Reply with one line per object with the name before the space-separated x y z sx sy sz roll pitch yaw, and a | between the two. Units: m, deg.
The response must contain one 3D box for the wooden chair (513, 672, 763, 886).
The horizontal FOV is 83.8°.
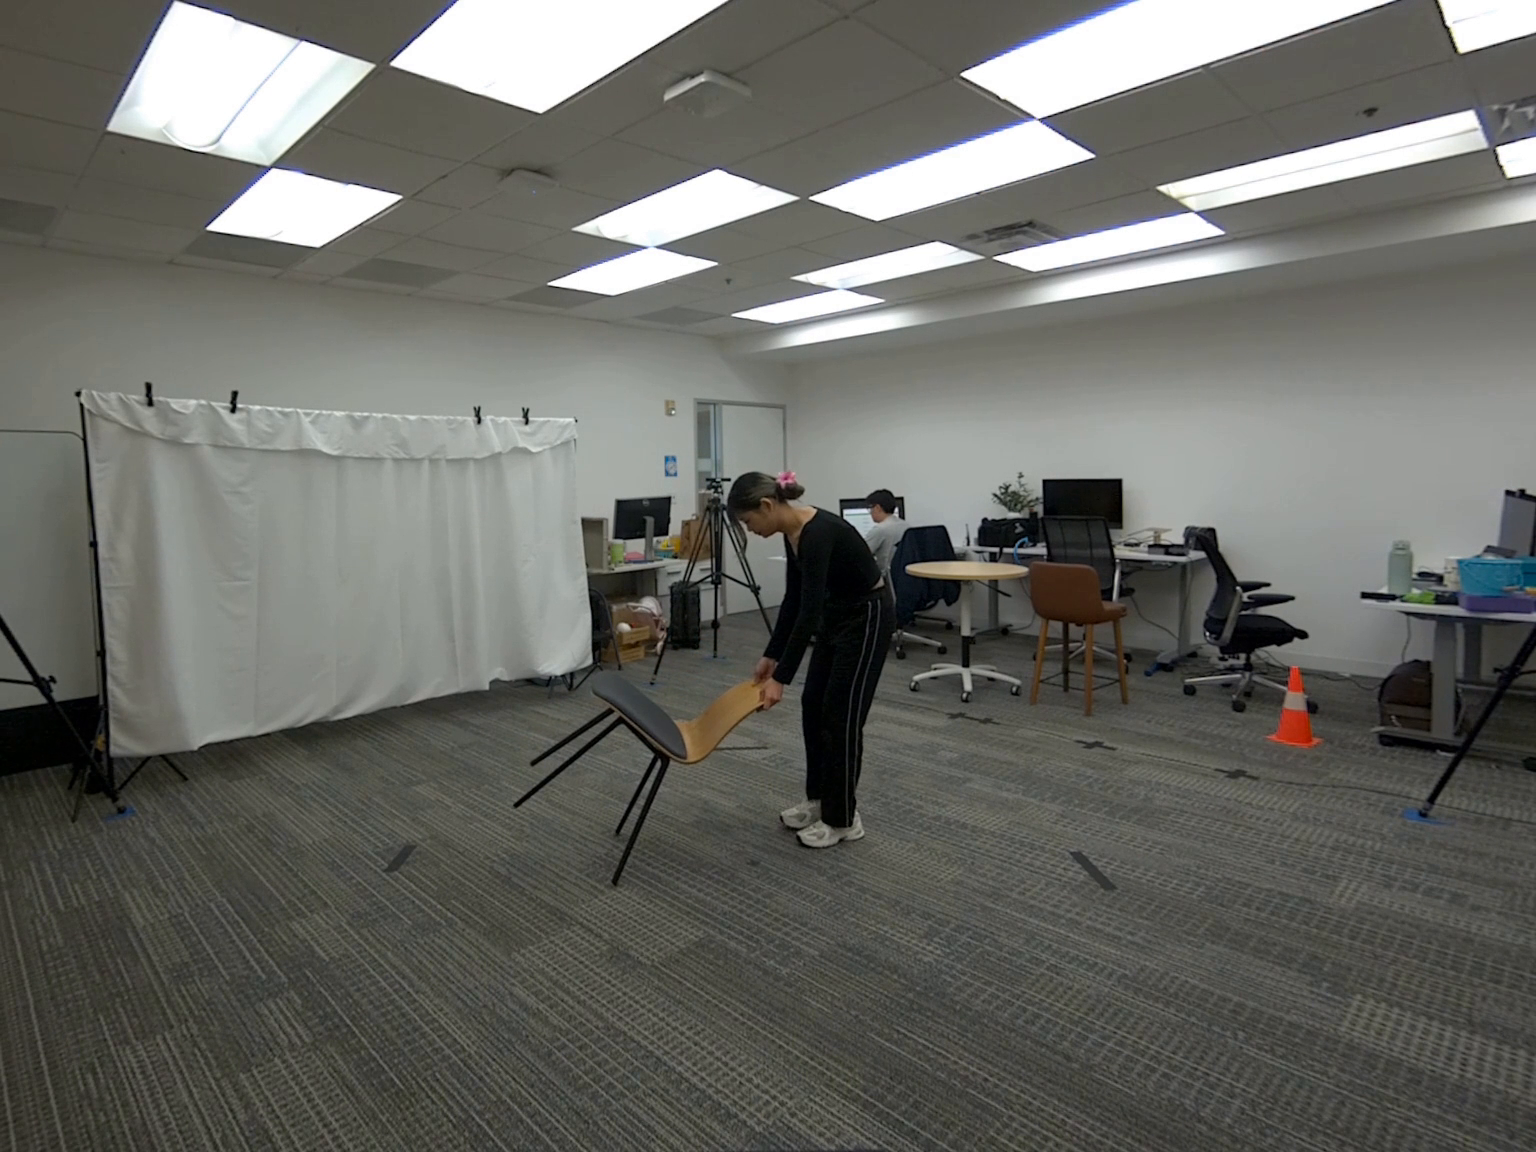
wooden chair | -0.447 0.563 3.139 0.877 0.519 0.482 -45 7 -2
